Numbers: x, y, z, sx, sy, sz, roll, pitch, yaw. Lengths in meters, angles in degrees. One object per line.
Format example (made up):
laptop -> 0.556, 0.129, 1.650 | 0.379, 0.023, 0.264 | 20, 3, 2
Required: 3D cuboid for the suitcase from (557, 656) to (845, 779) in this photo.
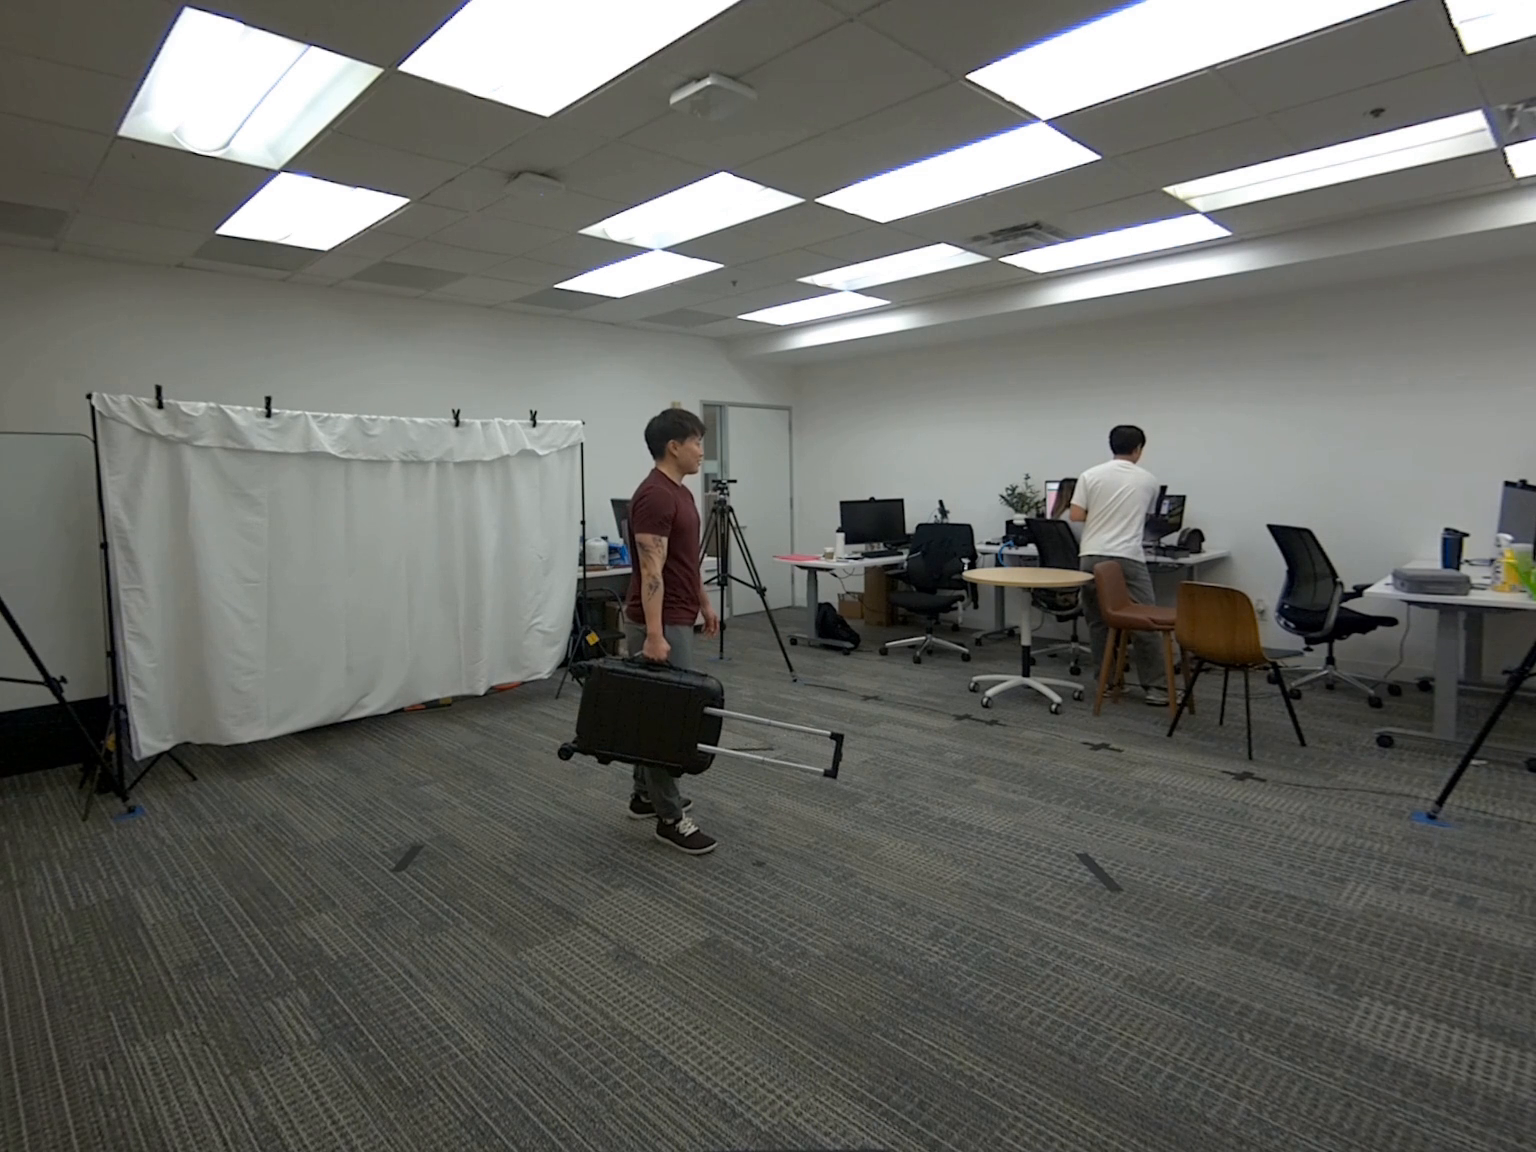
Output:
suitcase -> -0.230, 0.534, 3.099 | 0.981, 0.385, 0.256 | 8, -3, 2
